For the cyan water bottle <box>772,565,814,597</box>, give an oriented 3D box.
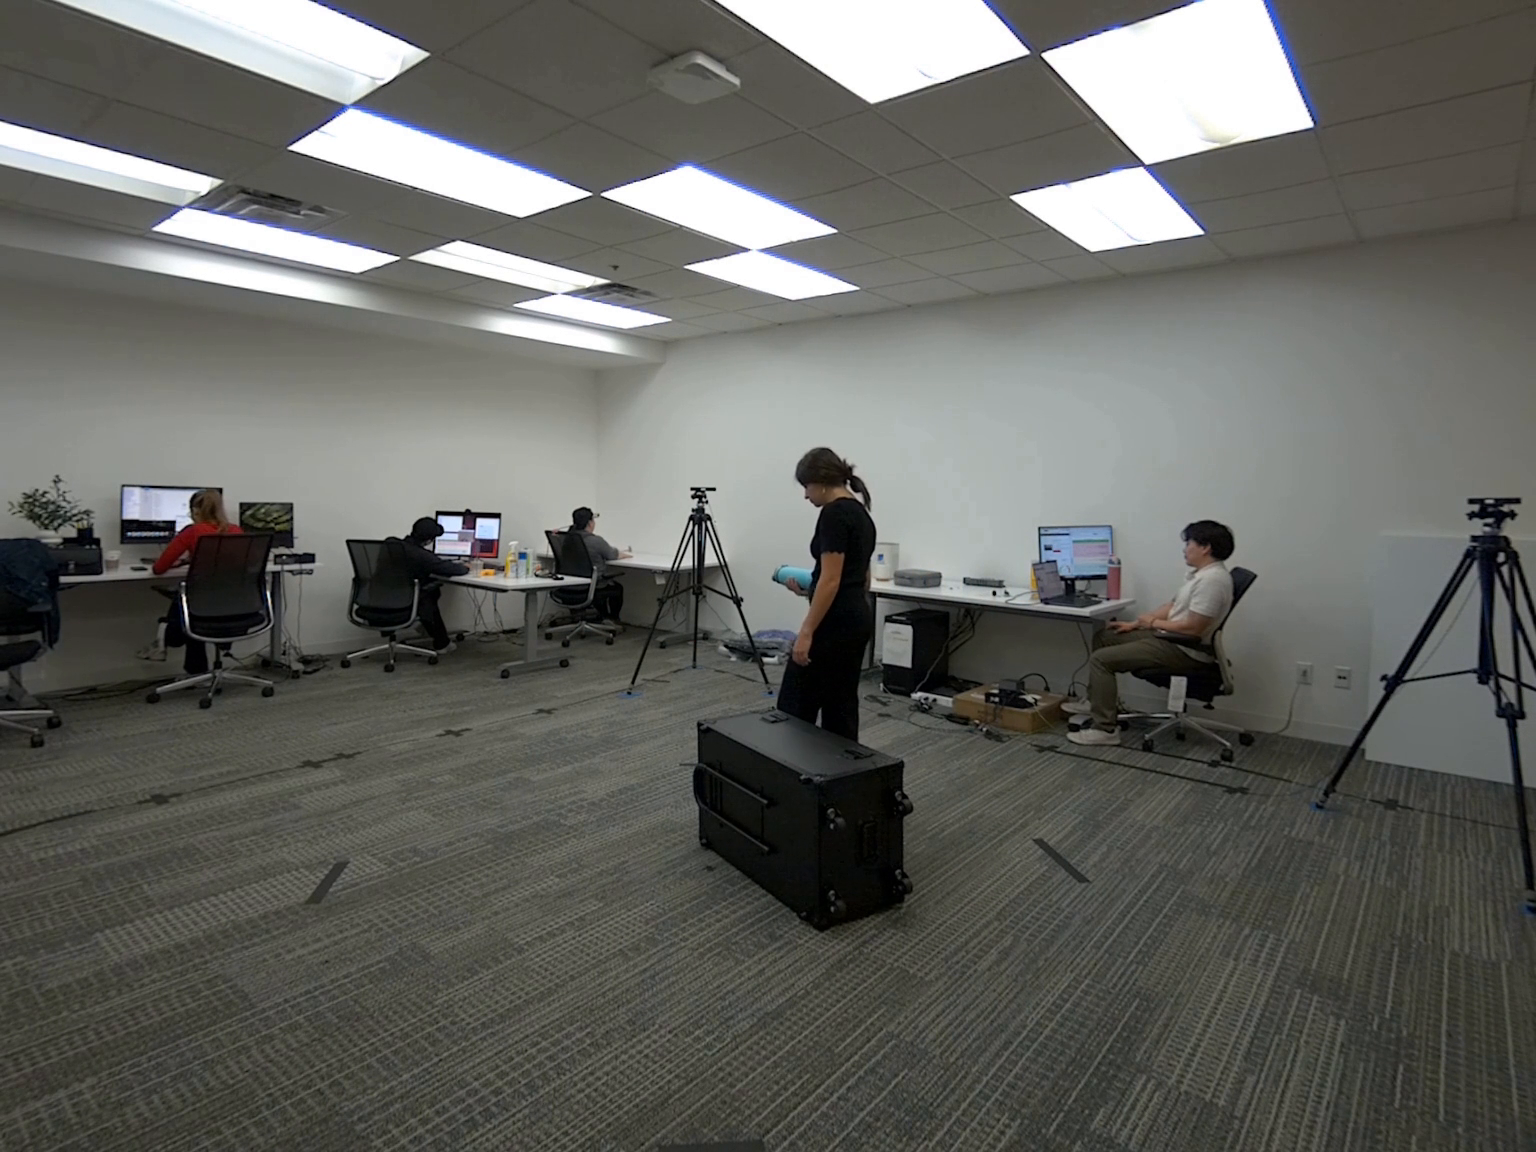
[{"bbox_3d":[0.126,0.004,3.853,0.089,0.092,0.293,-3,8,-41],"label":"cyan water bottle"}]
